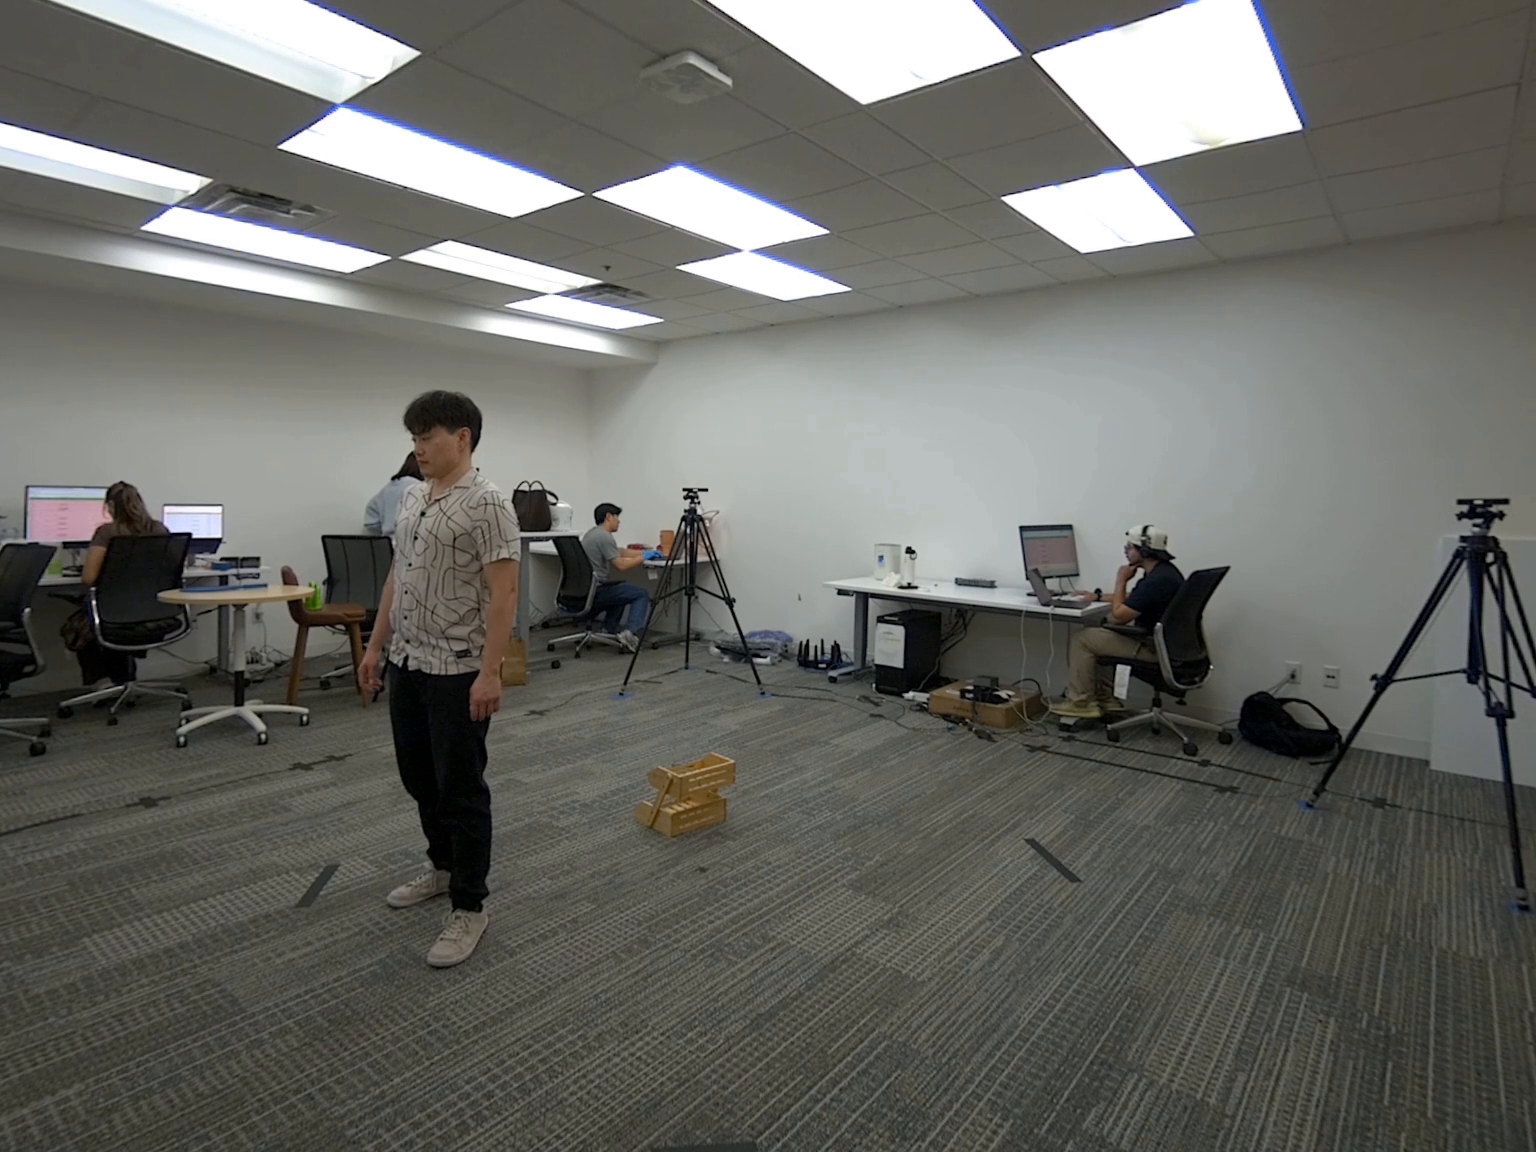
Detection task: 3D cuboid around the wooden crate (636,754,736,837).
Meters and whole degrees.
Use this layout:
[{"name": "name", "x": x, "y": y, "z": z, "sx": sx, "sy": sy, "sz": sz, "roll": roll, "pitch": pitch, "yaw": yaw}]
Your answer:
[{"name": "wooden crate", "x": -0.362, "y": 0.890, "z": 3.562, "sx": 0.314, "sy": 0.272, "sz": 0.312, "roll": -3, "pitch": 7, "yaw": -44}]
